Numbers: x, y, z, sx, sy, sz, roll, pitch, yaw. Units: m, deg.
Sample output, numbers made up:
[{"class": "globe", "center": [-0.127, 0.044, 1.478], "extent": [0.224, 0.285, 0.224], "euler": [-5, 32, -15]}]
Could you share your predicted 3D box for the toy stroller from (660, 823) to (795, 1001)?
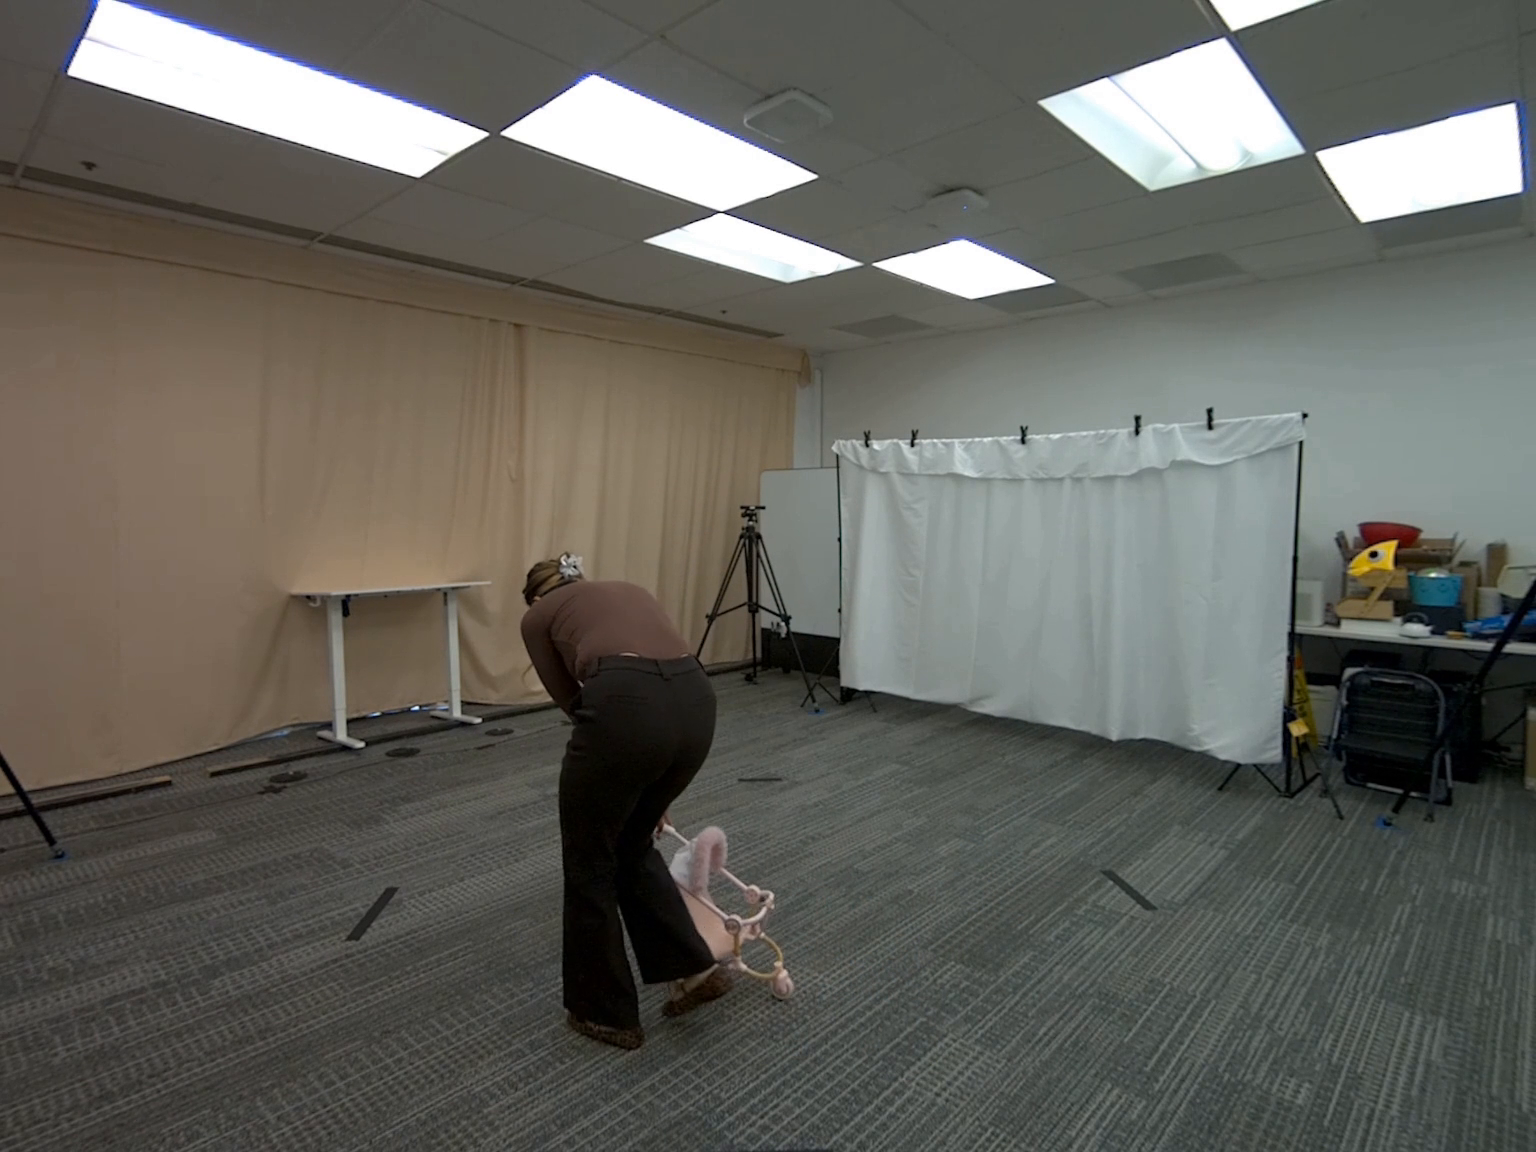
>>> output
[{"class": "toy stroller", "center": [-0.141, 0.967, 2.429], "extent": [0.347, 0.536, 0.275], "euler": [-18, -3, 23]}]
